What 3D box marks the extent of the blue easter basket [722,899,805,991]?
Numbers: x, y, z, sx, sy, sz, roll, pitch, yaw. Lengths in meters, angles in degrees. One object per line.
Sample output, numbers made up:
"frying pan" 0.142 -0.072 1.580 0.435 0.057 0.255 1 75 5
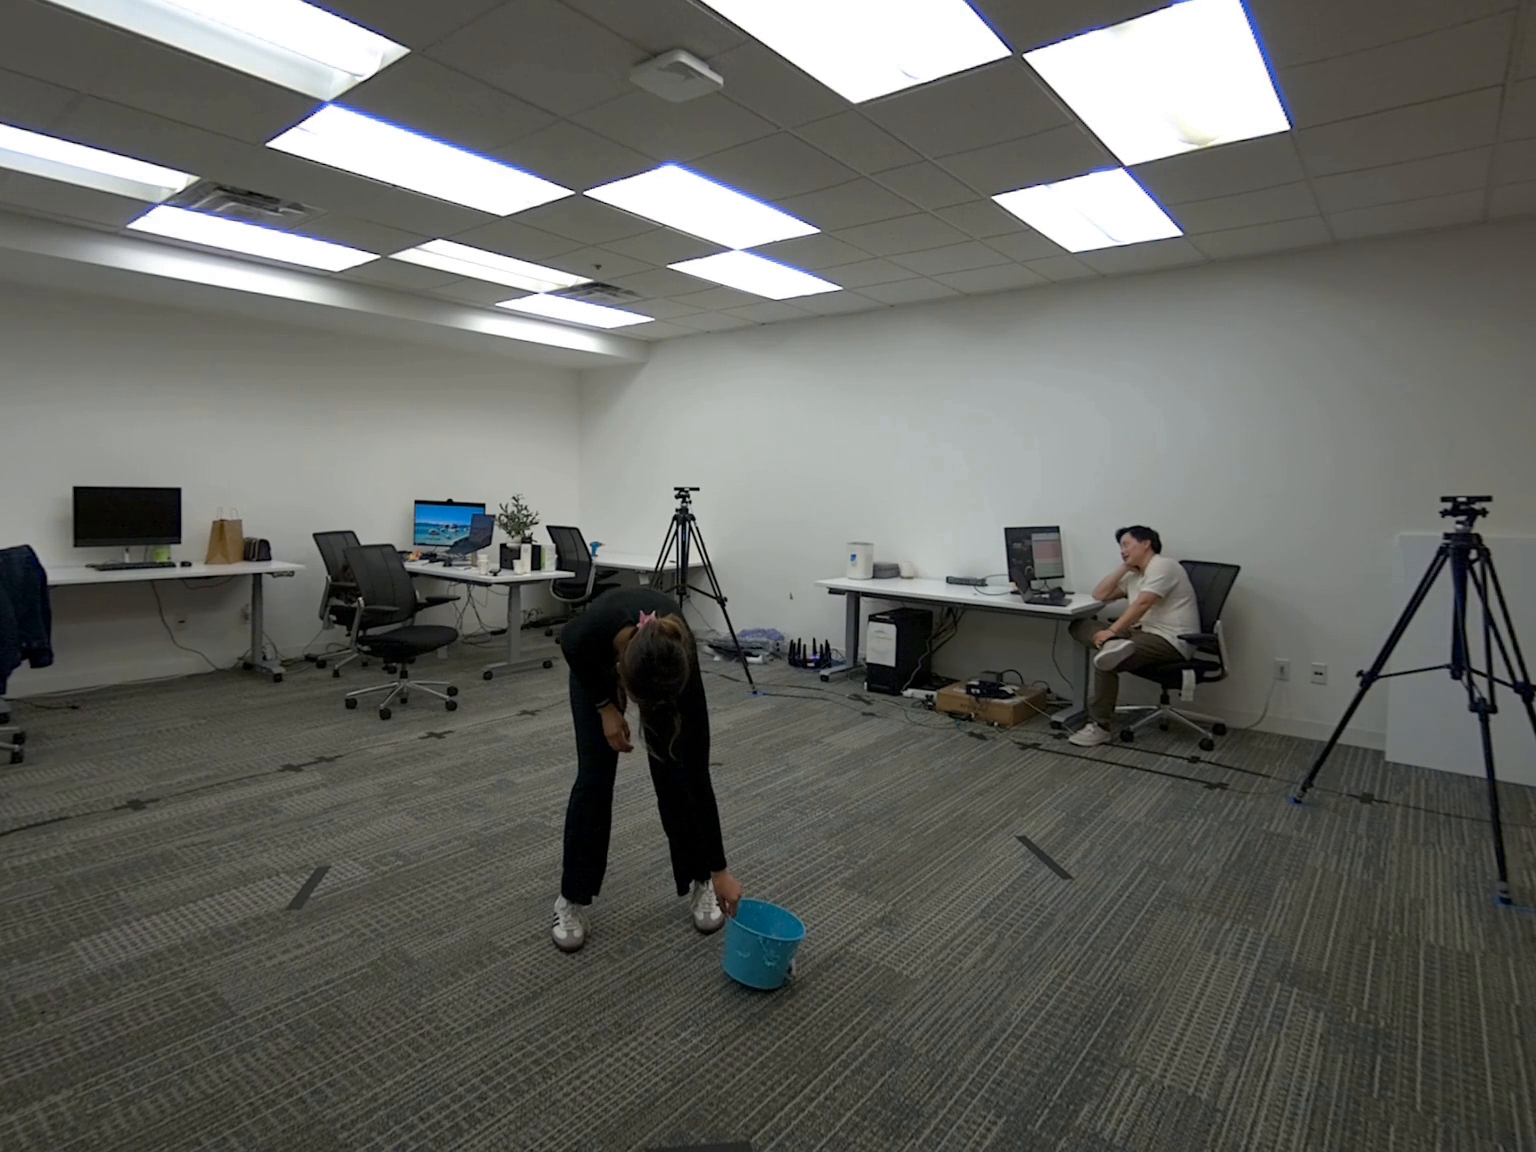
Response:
"blue easter basket" -0.030 1.045 2.412 0.243 0.156 0.244 13 1 -2
